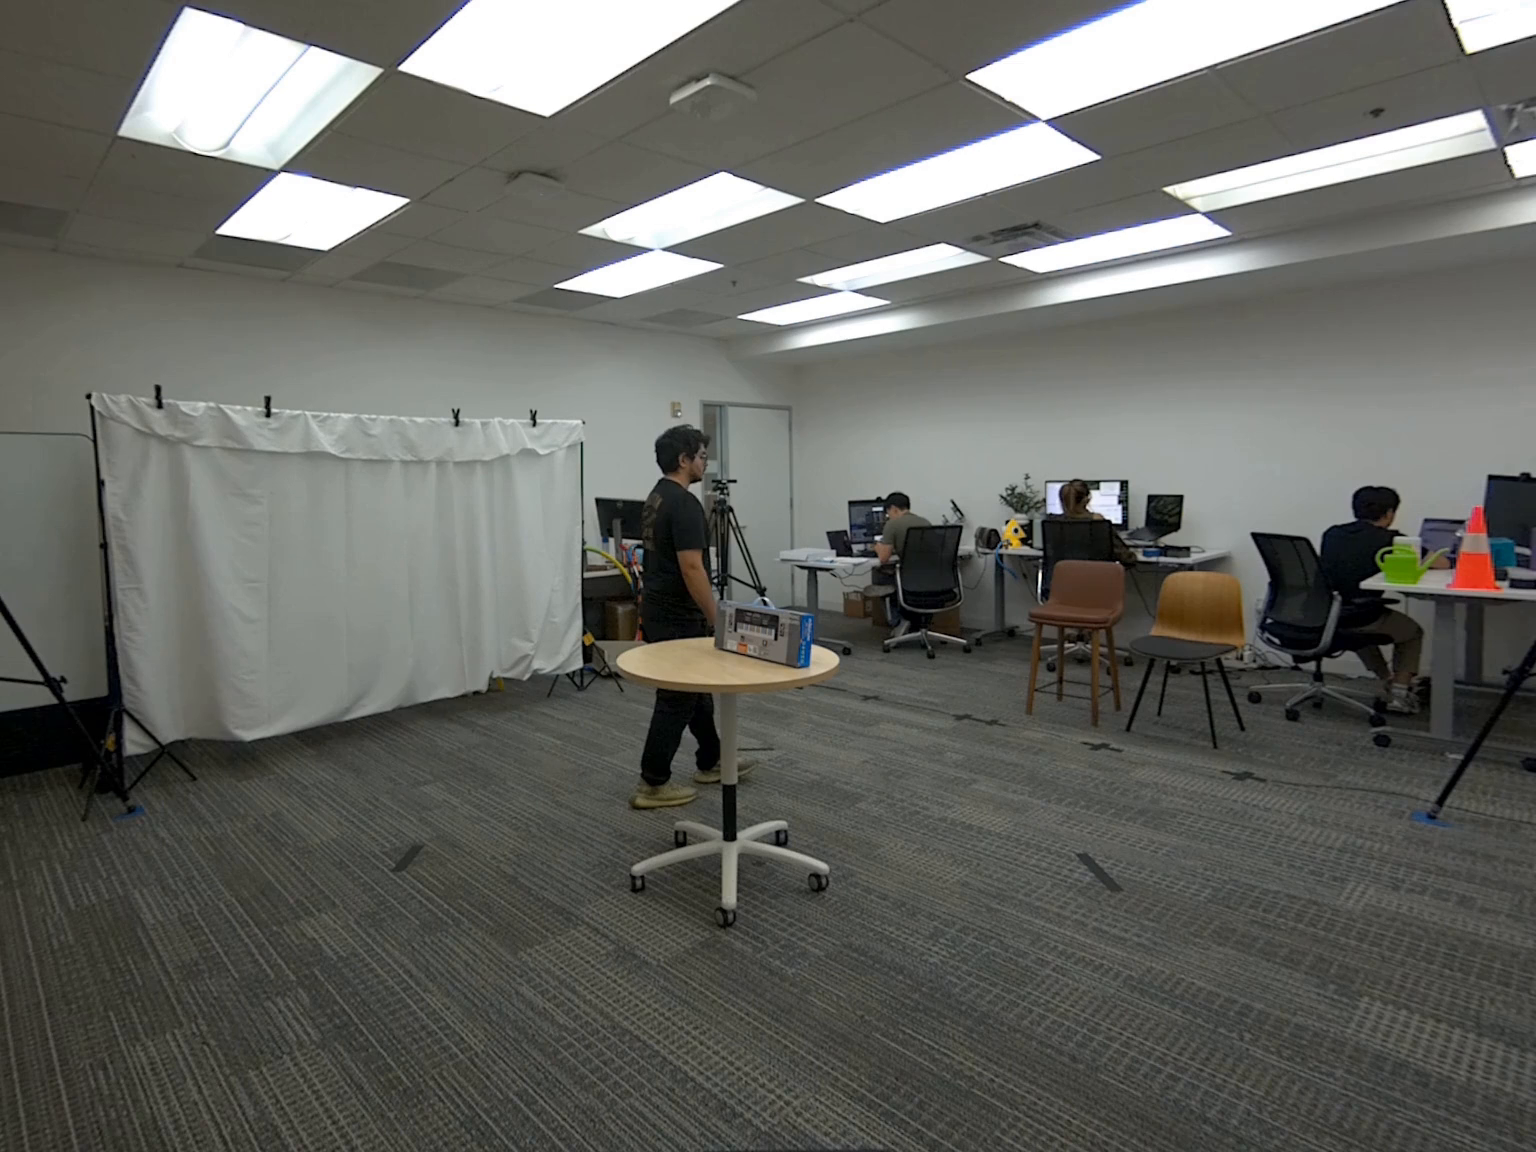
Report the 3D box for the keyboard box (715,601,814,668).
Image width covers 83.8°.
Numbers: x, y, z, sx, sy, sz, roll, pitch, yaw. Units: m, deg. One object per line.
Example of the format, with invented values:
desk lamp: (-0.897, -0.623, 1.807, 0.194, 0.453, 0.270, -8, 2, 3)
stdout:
keyboard box: (-0.021, 0.196, 2.950, 0.057, 0.176, 0.450, 3, 2, -41)
